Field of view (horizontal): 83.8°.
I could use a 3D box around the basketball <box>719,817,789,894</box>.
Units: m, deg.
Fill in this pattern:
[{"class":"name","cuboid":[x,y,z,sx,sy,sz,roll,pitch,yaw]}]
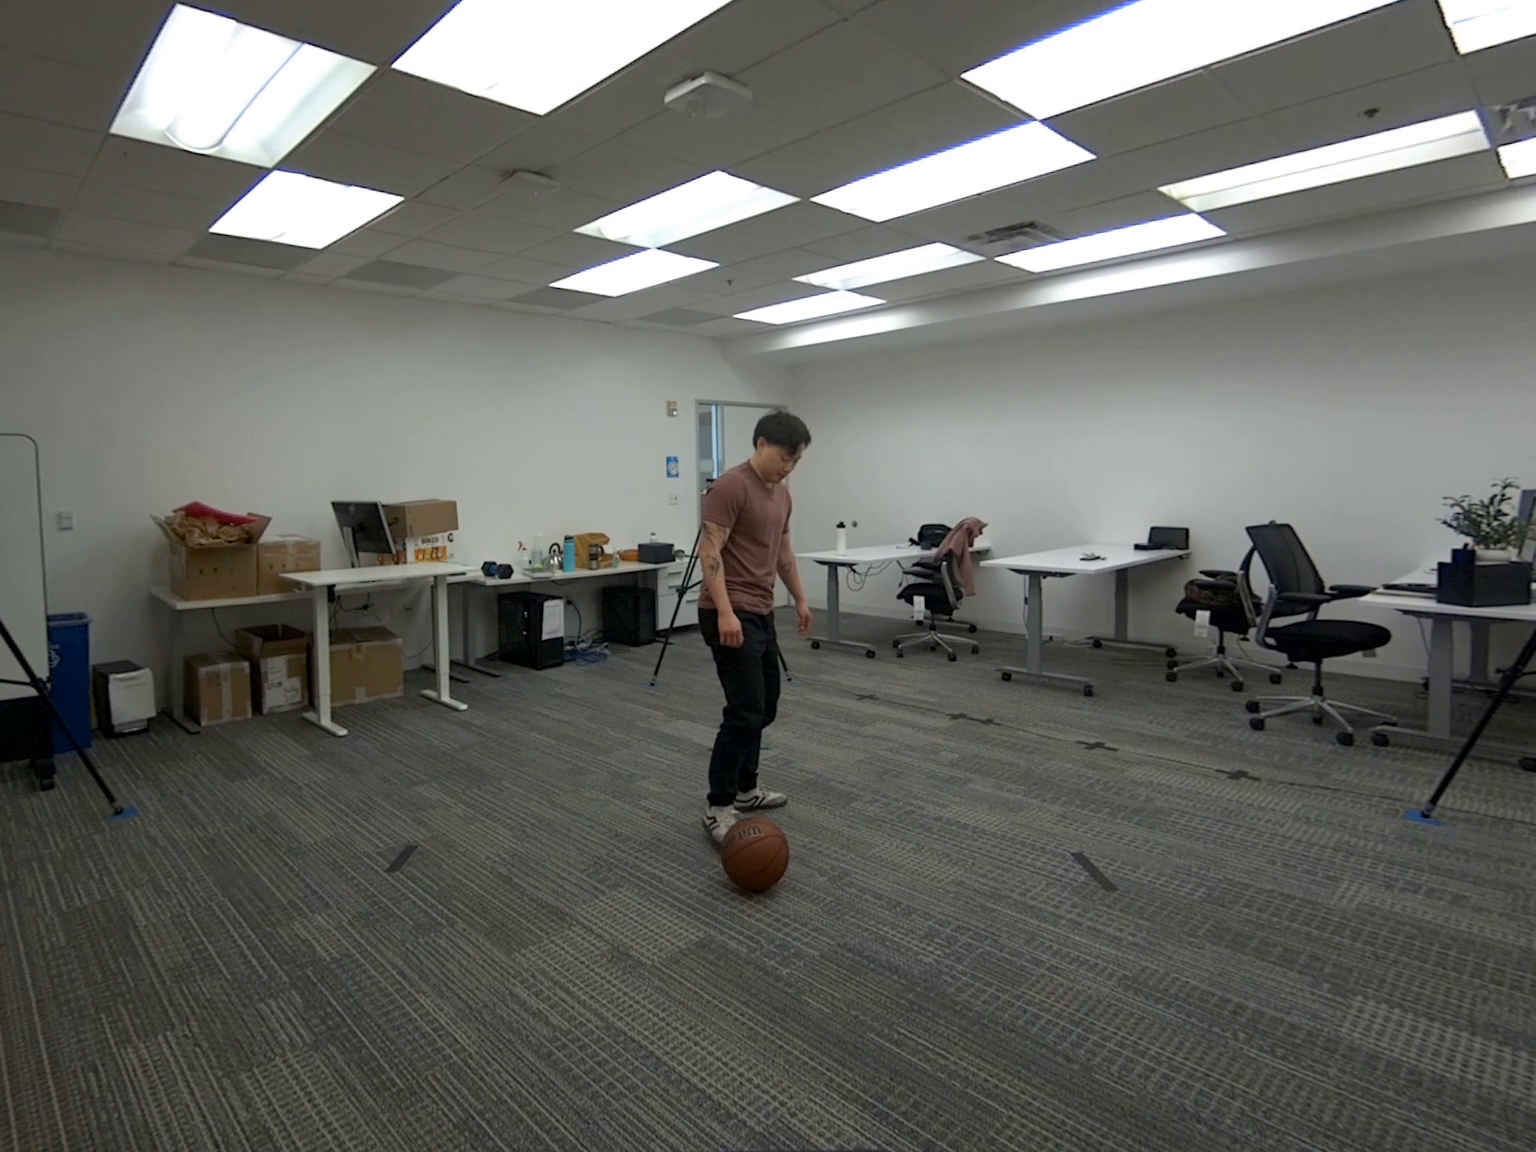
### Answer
[{"class":"basketball","cuboid":[-0.045,0.952,2.922,0.236,0.235,0.237,-1,5,-2]}]
